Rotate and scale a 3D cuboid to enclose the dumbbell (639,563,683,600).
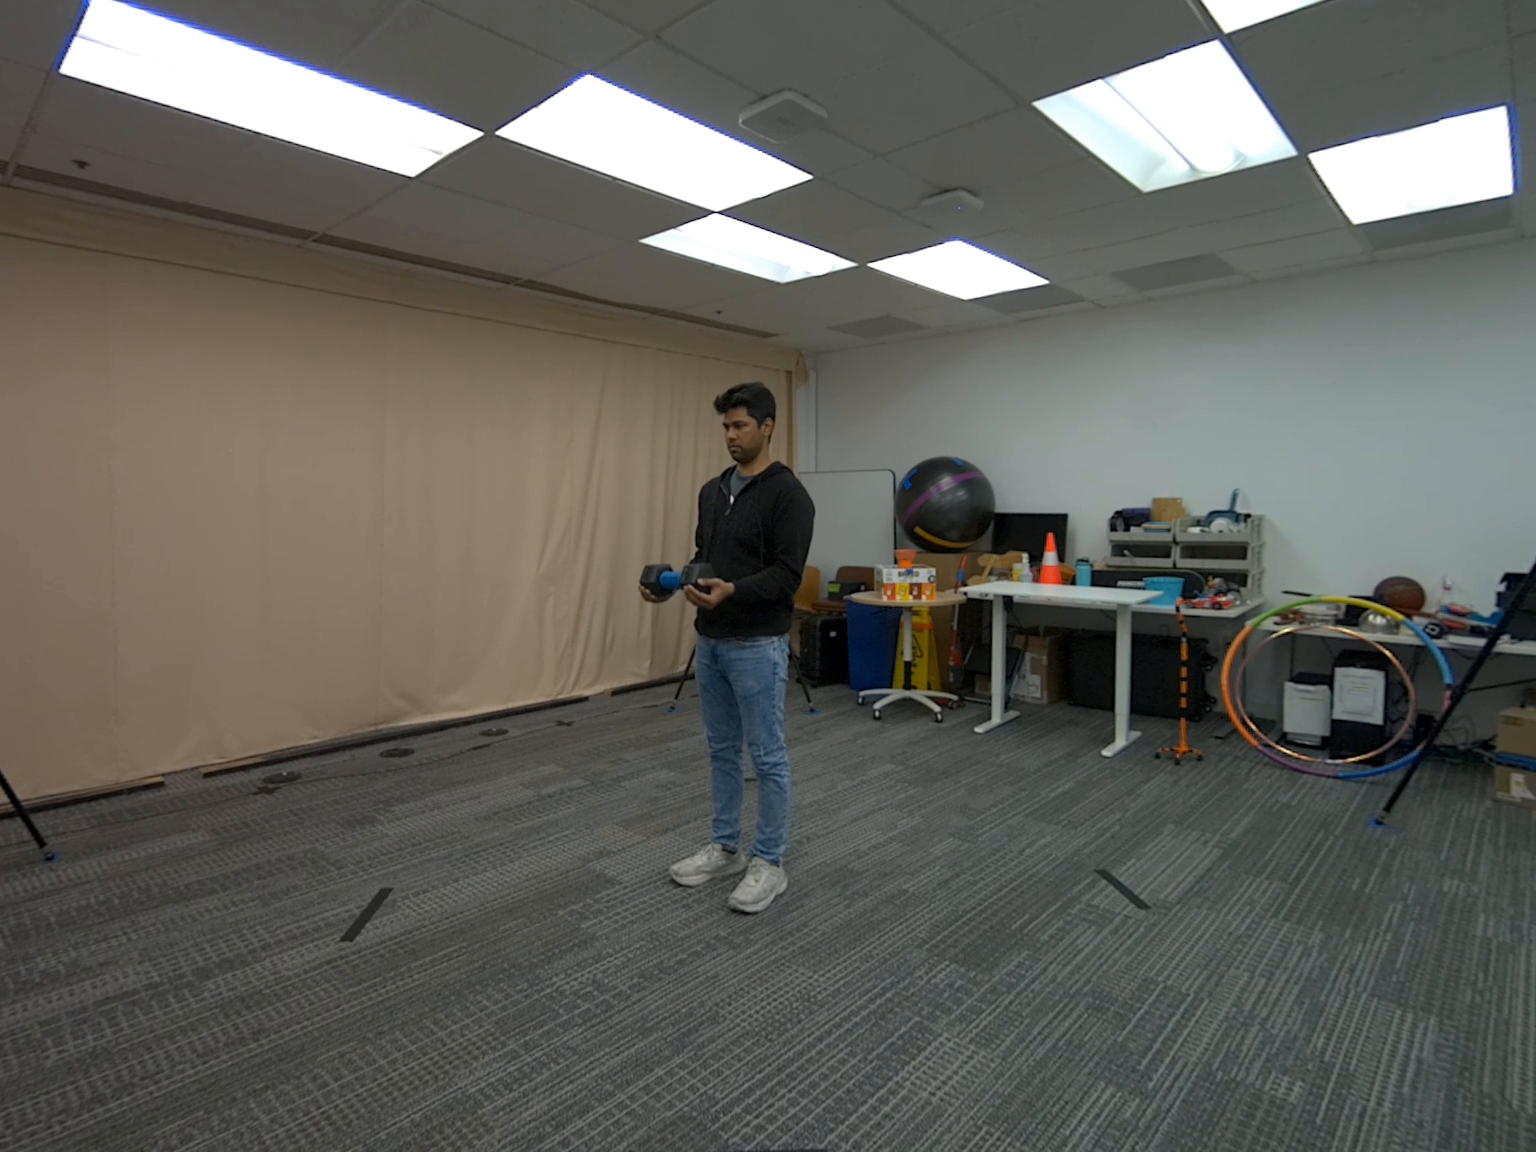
[{"bbox_3d":[-0.293,0.012,2.832,0.303,0.123,0.105,1,-25,46],"label":"dumbbell"}]
